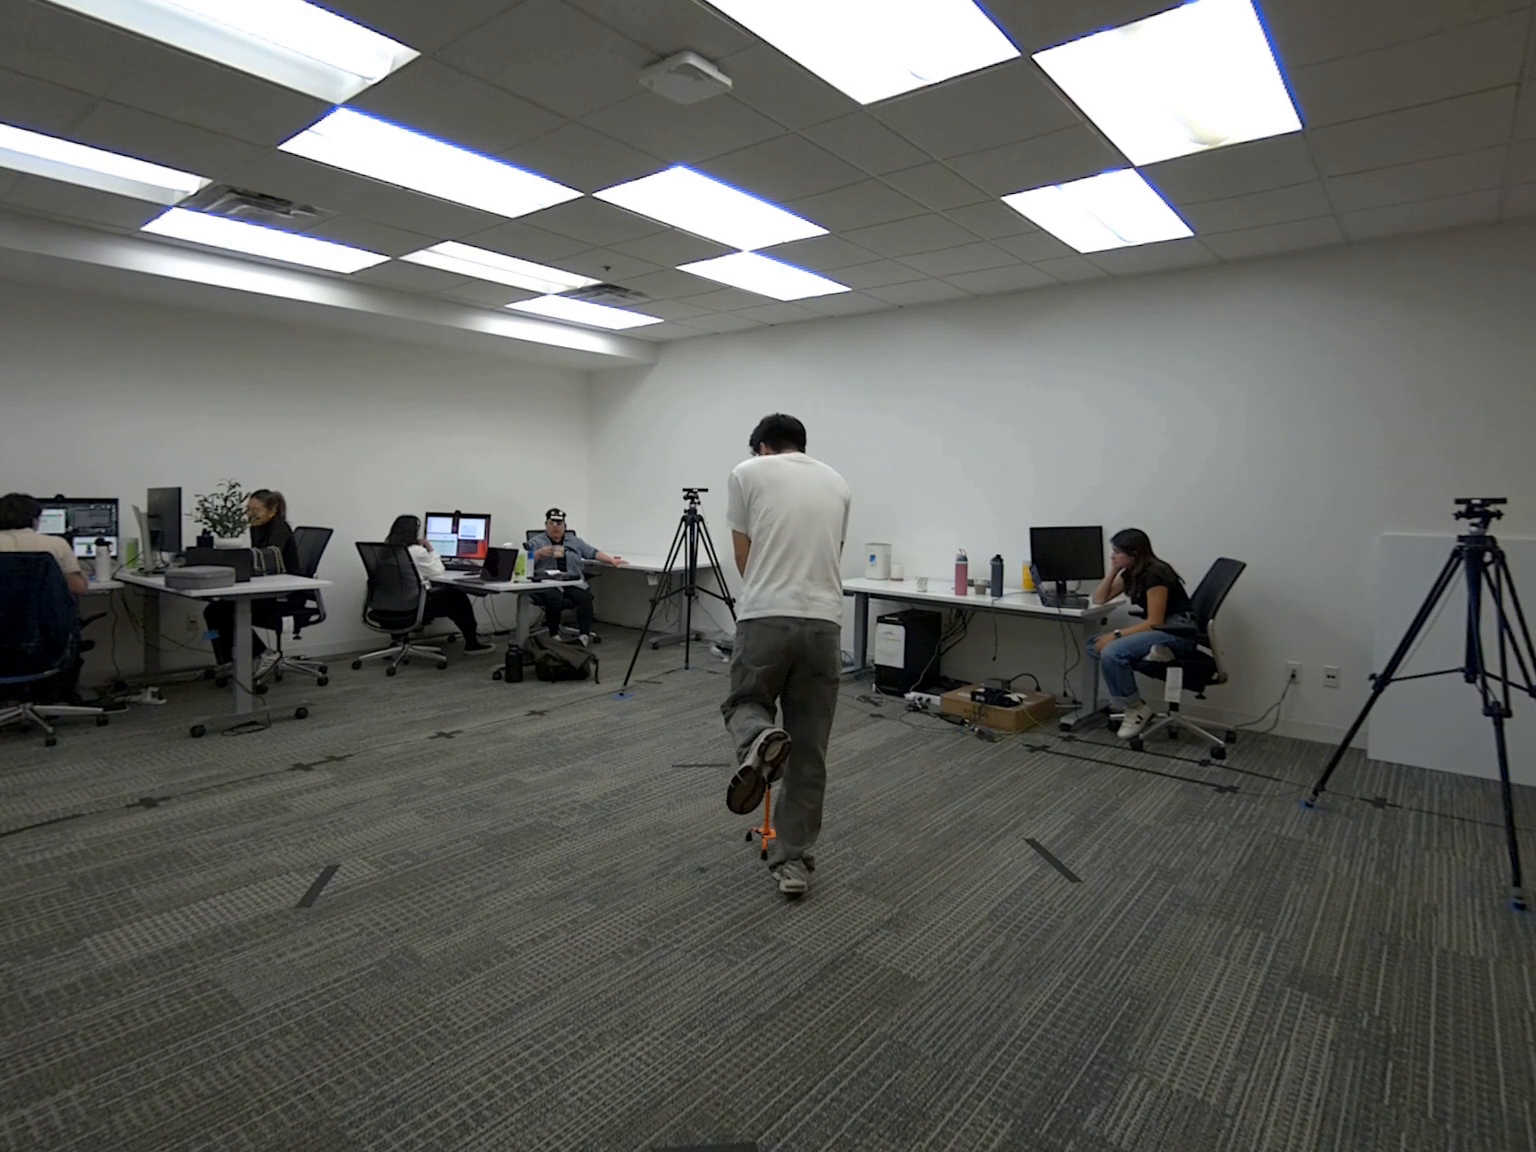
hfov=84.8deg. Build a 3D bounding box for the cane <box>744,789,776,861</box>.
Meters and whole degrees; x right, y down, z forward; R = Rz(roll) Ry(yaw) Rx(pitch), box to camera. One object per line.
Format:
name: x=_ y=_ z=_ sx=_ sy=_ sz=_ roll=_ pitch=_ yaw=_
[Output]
cane: x=0.023 y=0.597 z=3.292 sx=0.149 sy=0.905 sz=0.211 roll=0 pitch=3 yaw=-20
